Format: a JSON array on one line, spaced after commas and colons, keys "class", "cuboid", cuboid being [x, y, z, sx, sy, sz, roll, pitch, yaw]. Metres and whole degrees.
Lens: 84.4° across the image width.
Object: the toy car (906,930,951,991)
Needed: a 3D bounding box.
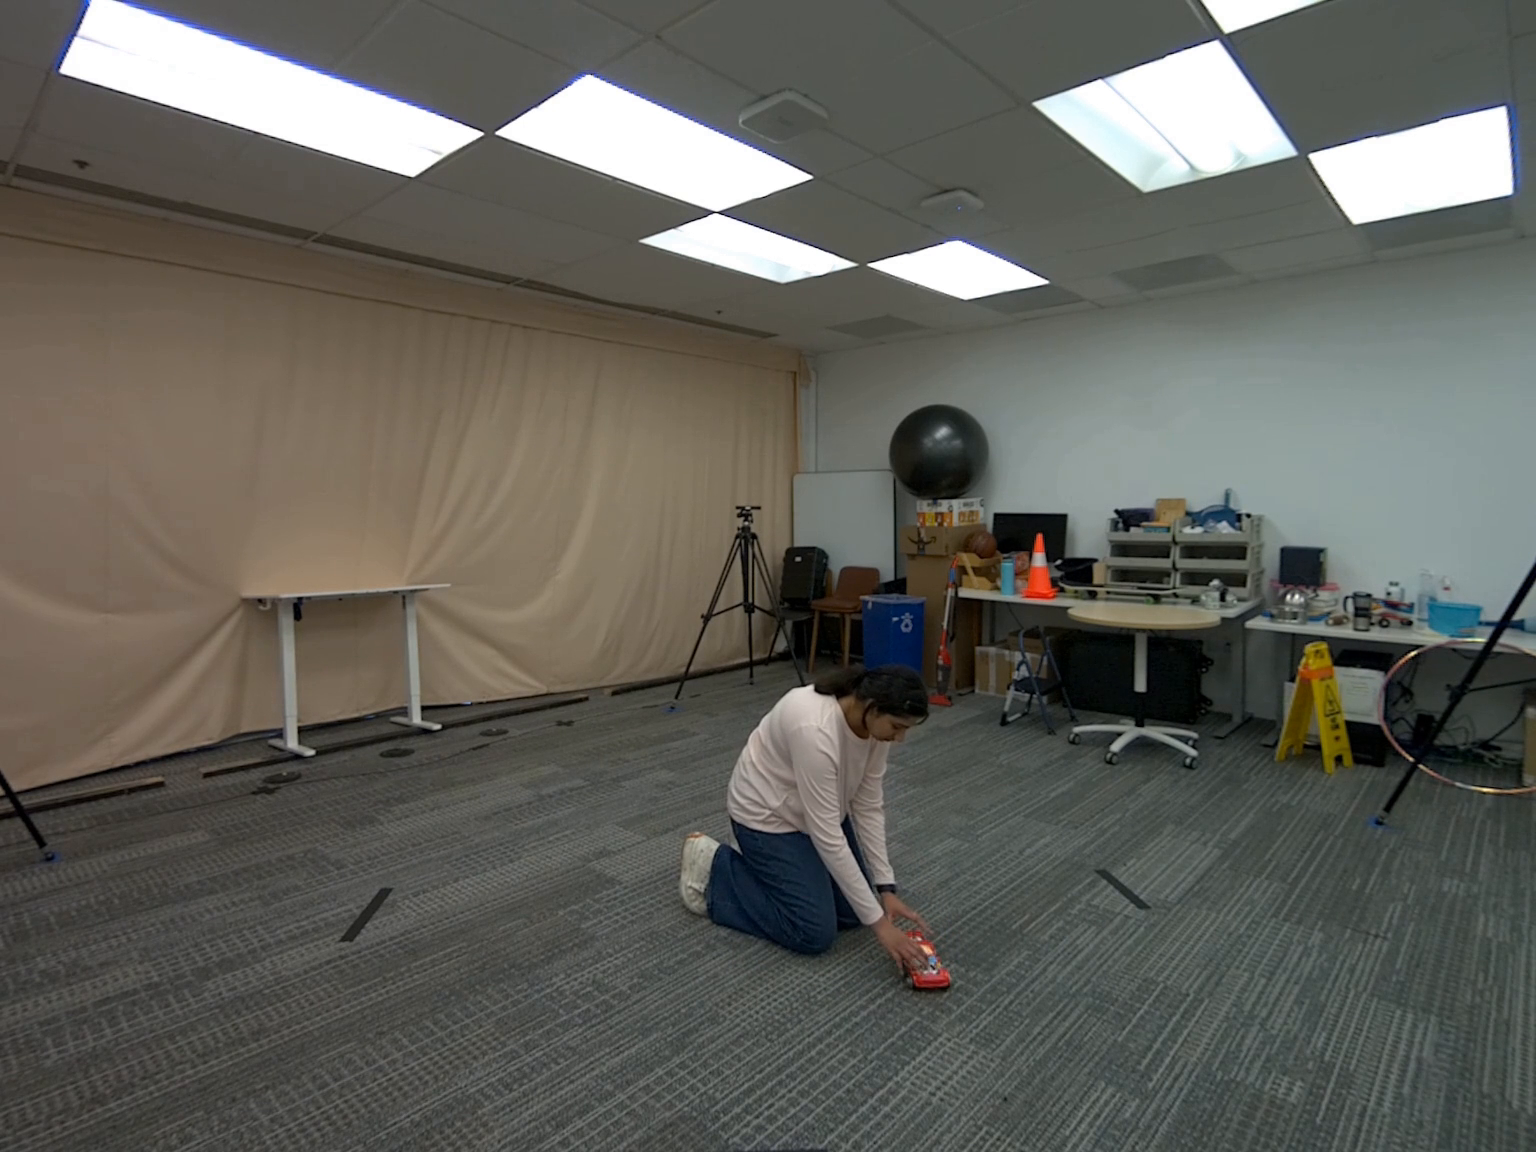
[{"class": "toy car", "cuboid": [0.457, 1.151, 2.515, 0.129, 0.082, 0.258, 0, 16, -8]}]
